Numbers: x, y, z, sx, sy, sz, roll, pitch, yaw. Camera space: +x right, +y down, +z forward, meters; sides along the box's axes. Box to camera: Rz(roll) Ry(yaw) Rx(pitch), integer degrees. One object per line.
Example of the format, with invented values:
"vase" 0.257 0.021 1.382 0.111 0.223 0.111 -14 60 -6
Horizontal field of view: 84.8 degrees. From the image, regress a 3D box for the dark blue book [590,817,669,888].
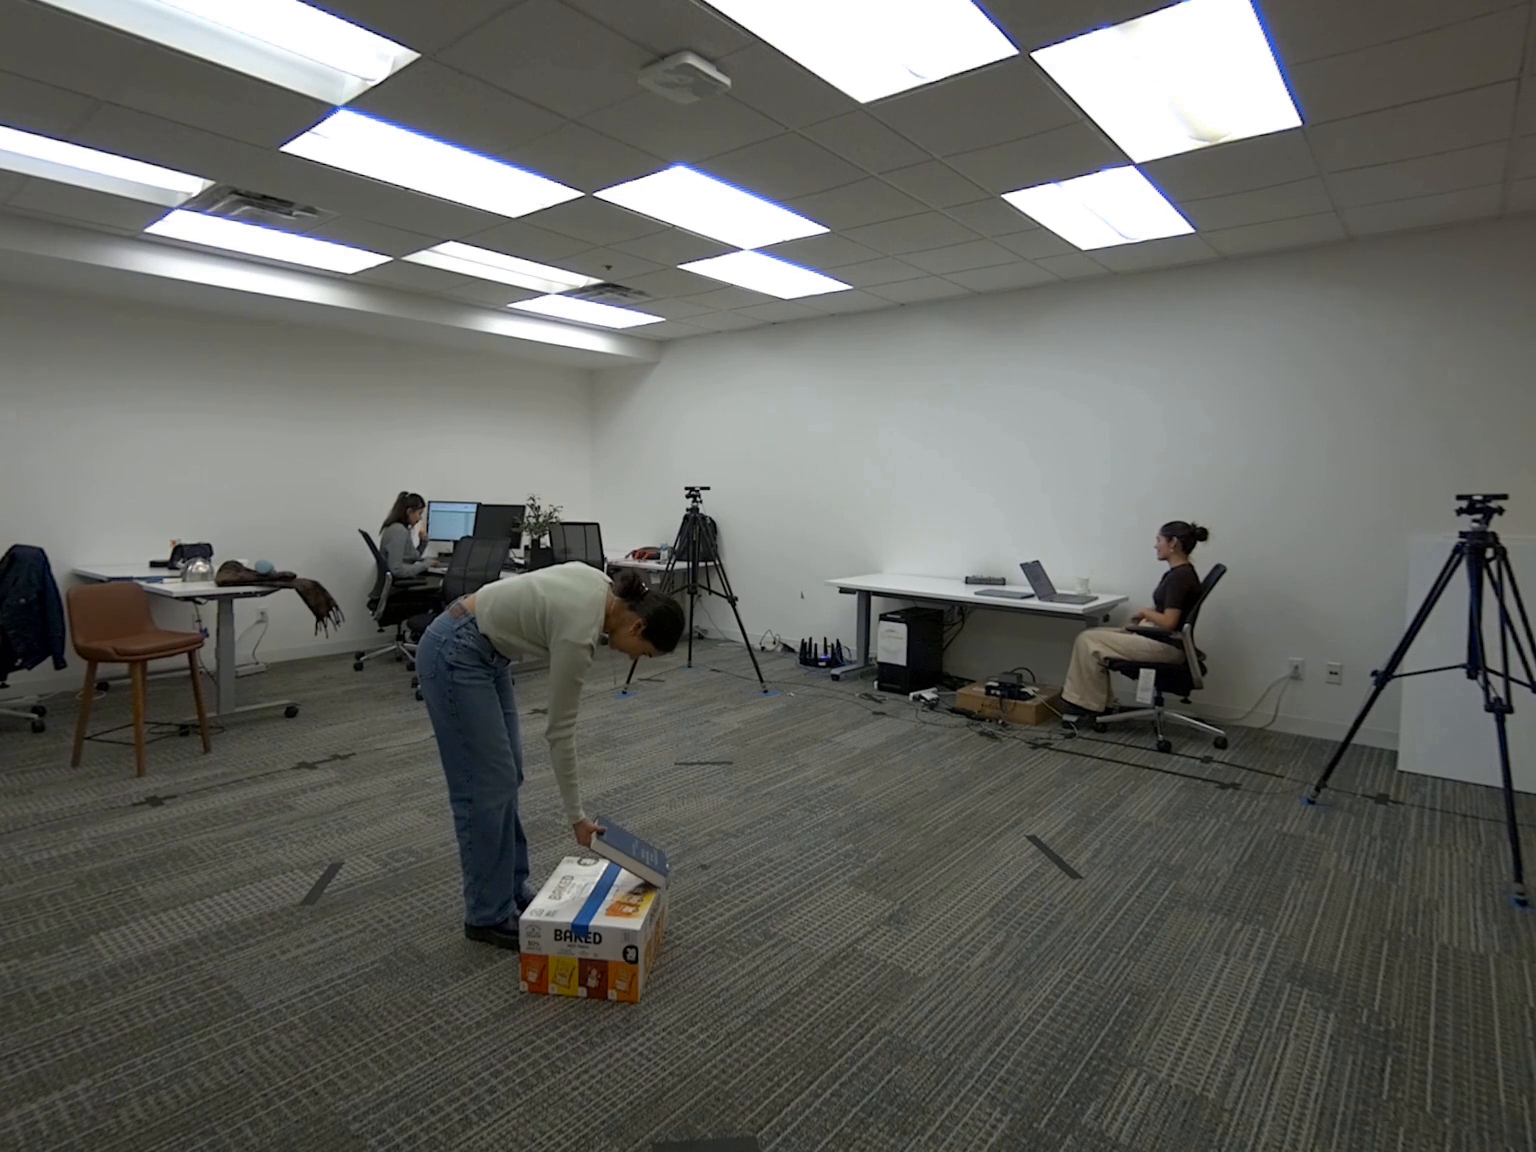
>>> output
"dark blue book" -0.431 0.828 2.538 0.242 0.045 0.165 32 1 -9
